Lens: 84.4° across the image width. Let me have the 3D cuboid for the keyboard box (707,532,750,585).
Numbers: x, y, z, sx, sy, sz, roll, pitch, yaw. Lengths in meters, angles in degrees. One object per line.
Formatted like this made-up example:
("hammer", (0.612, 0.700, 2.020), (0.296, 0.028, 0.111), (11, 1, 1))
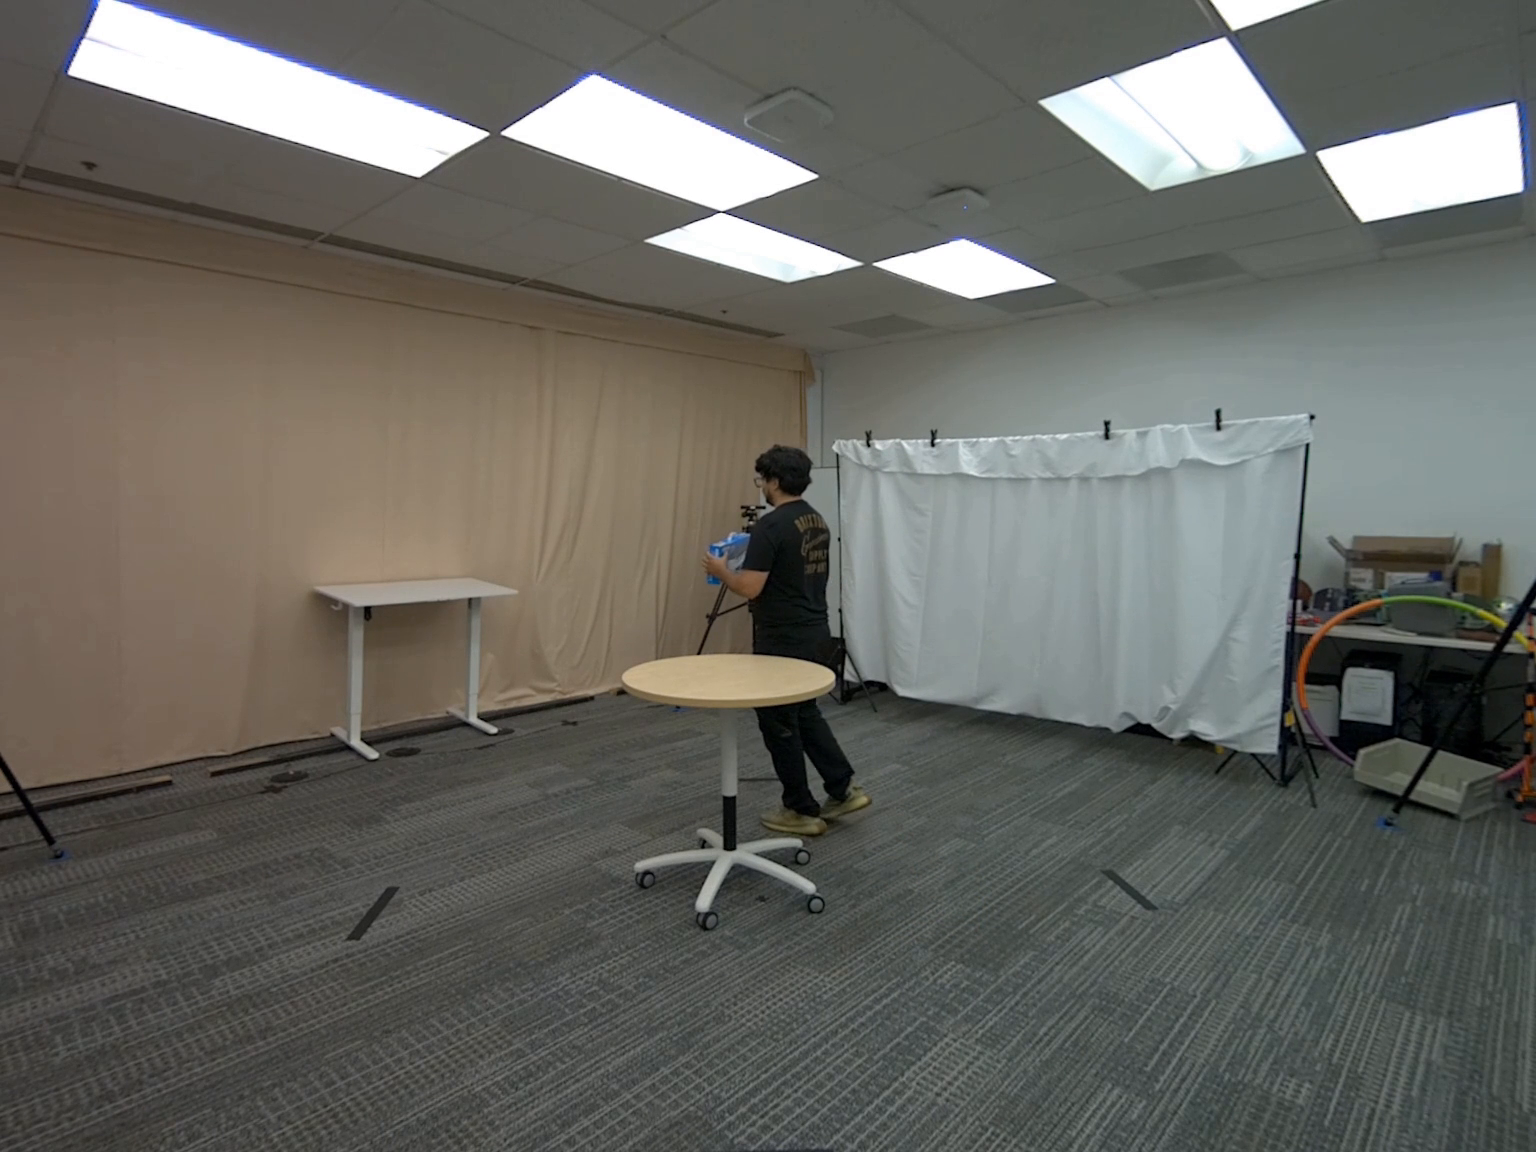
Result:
("keyboard box", (-0.156, -0.083, 3.886), (0.060, 0.175, 0.431), (5, 12, 15))
